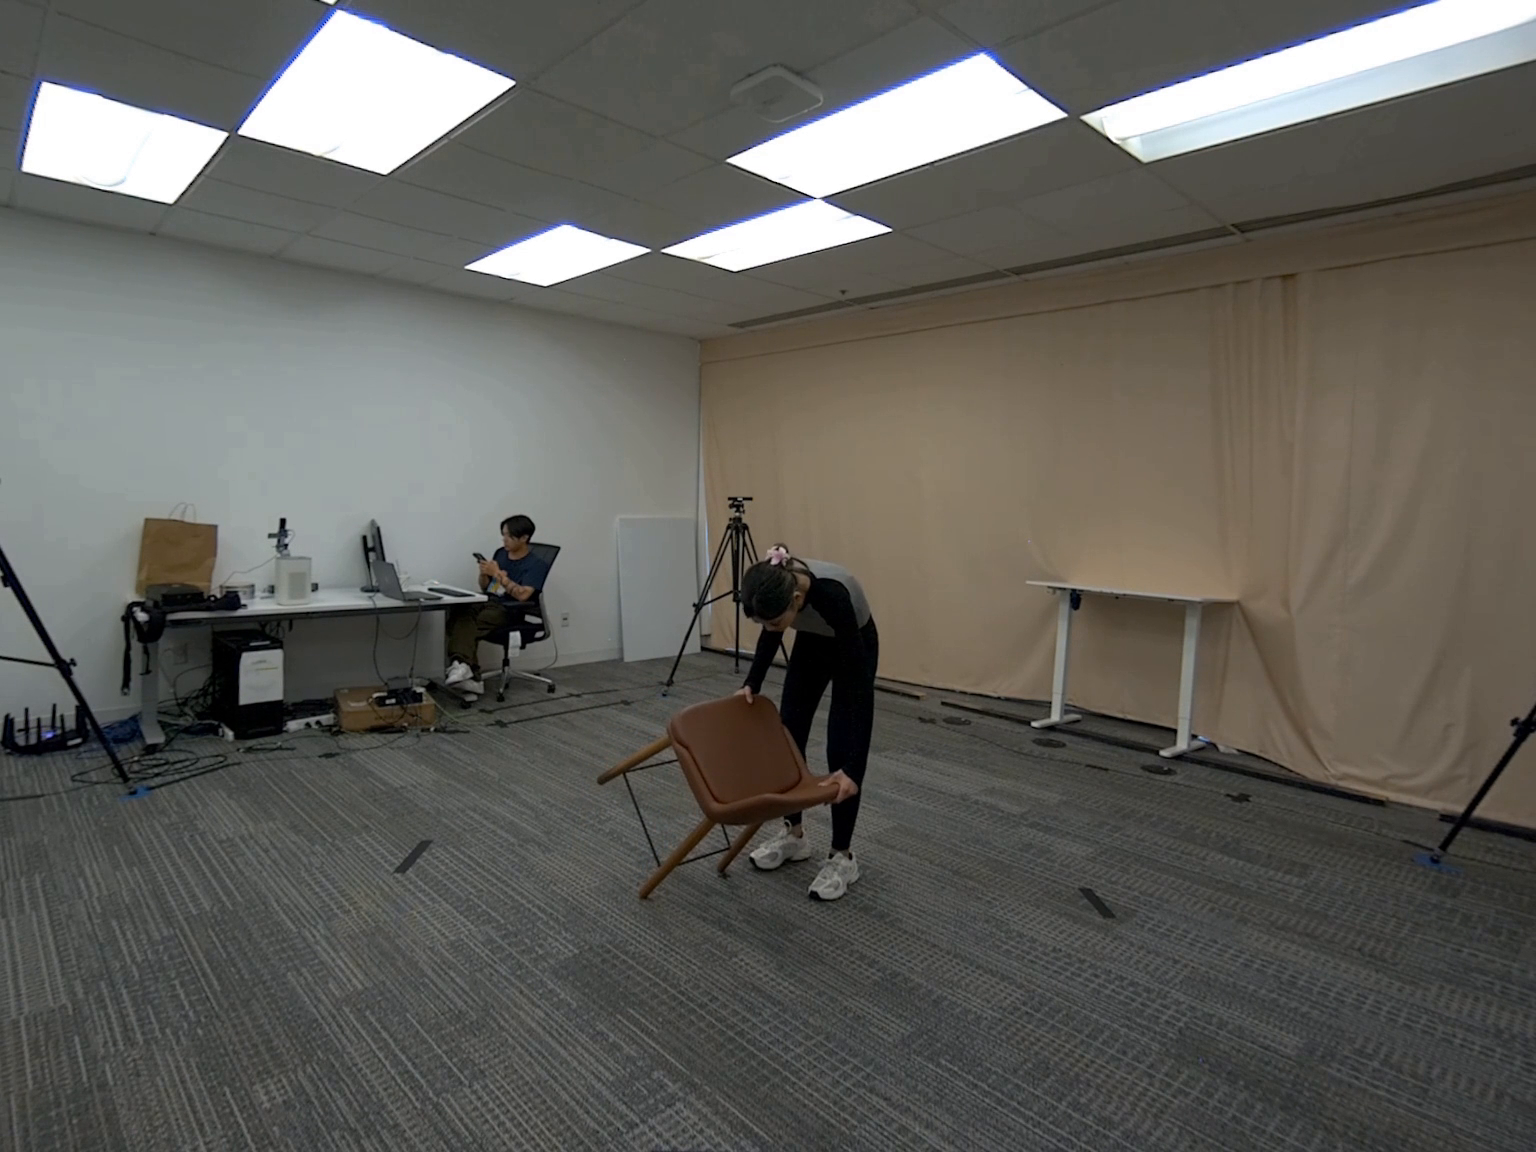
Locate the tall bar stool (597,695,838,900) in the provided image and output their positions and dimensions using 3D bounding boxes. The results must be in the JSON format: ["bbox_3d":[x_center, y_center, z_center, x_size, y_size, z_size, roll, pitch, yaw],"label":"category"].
[{"bbox_3d":[-0.168,0.694,2.847,0.446,0.478,0.890,-2,-32,-41],"label":"tall bar stool"}]
